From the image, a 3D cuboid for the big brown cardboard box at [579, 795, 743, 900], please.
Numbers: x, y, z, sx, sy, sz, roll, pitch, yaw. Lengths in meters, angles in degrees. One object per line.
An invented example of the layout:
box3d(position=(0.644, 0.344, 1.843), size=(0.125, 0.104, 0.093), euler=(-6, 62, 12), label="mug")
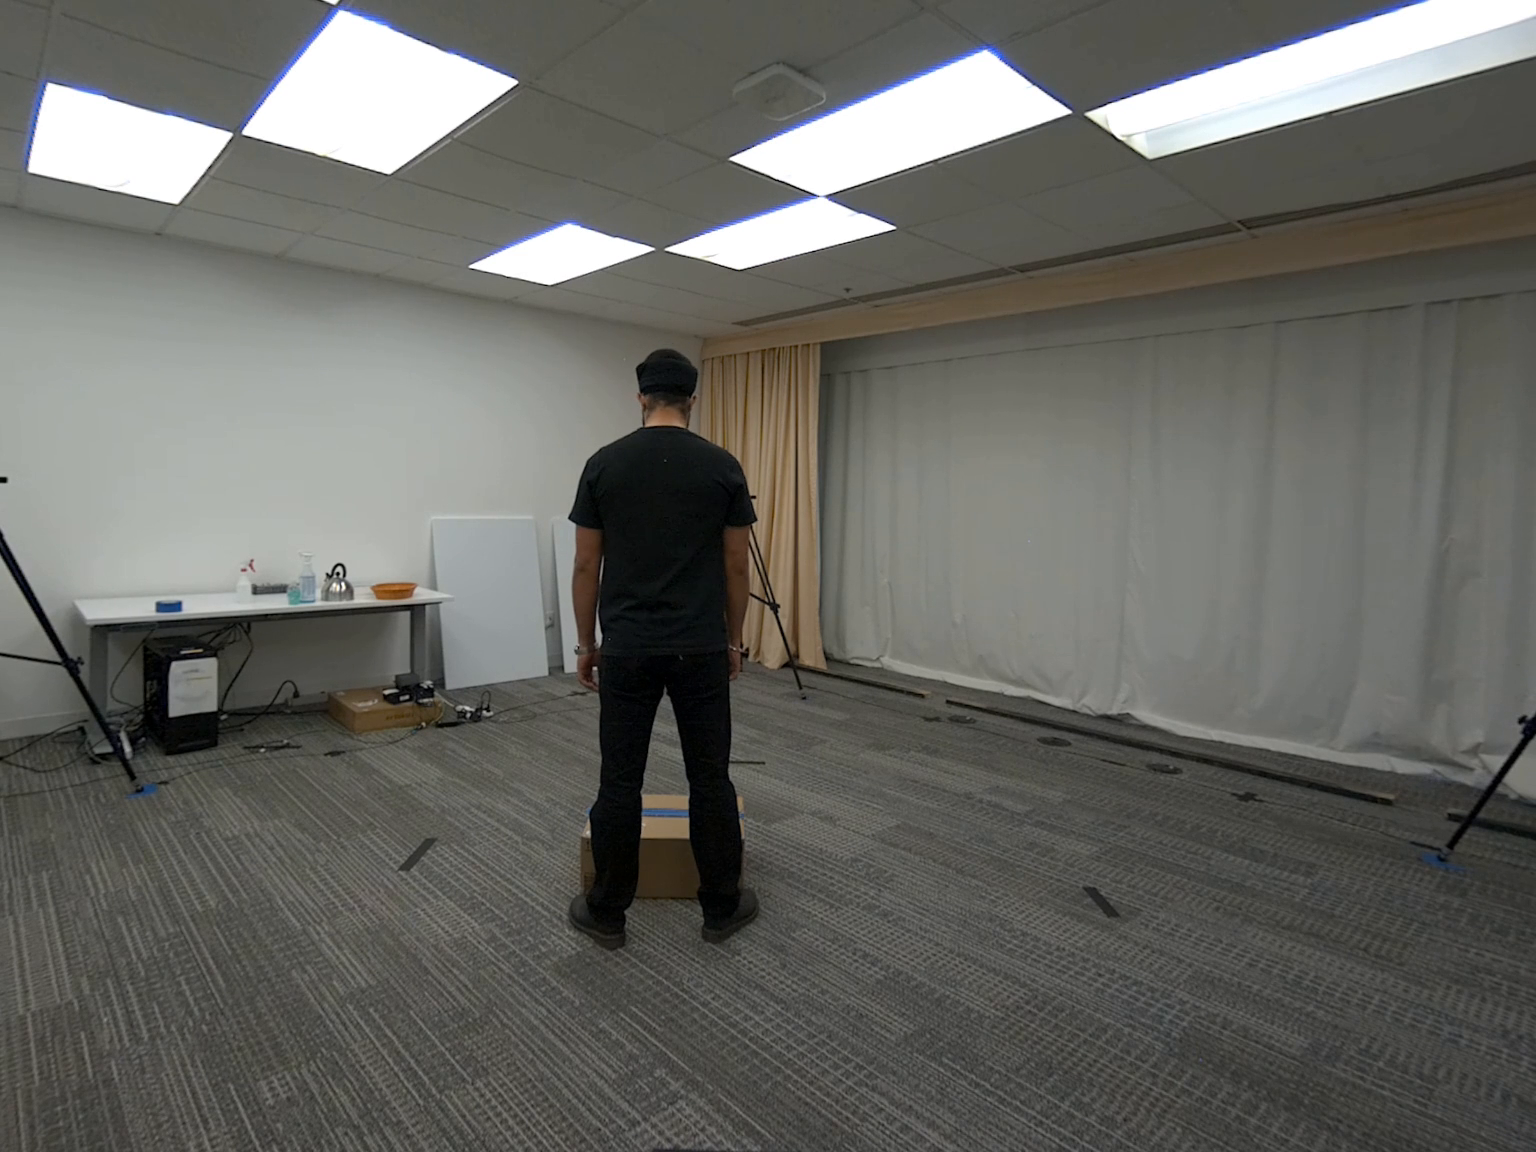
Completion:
box3d(position=(-0.387, 0.993, 3.105), size=(0.588, 0.232, 0.419), euler=(2, 4, -3), label="big brown cardboard box")
